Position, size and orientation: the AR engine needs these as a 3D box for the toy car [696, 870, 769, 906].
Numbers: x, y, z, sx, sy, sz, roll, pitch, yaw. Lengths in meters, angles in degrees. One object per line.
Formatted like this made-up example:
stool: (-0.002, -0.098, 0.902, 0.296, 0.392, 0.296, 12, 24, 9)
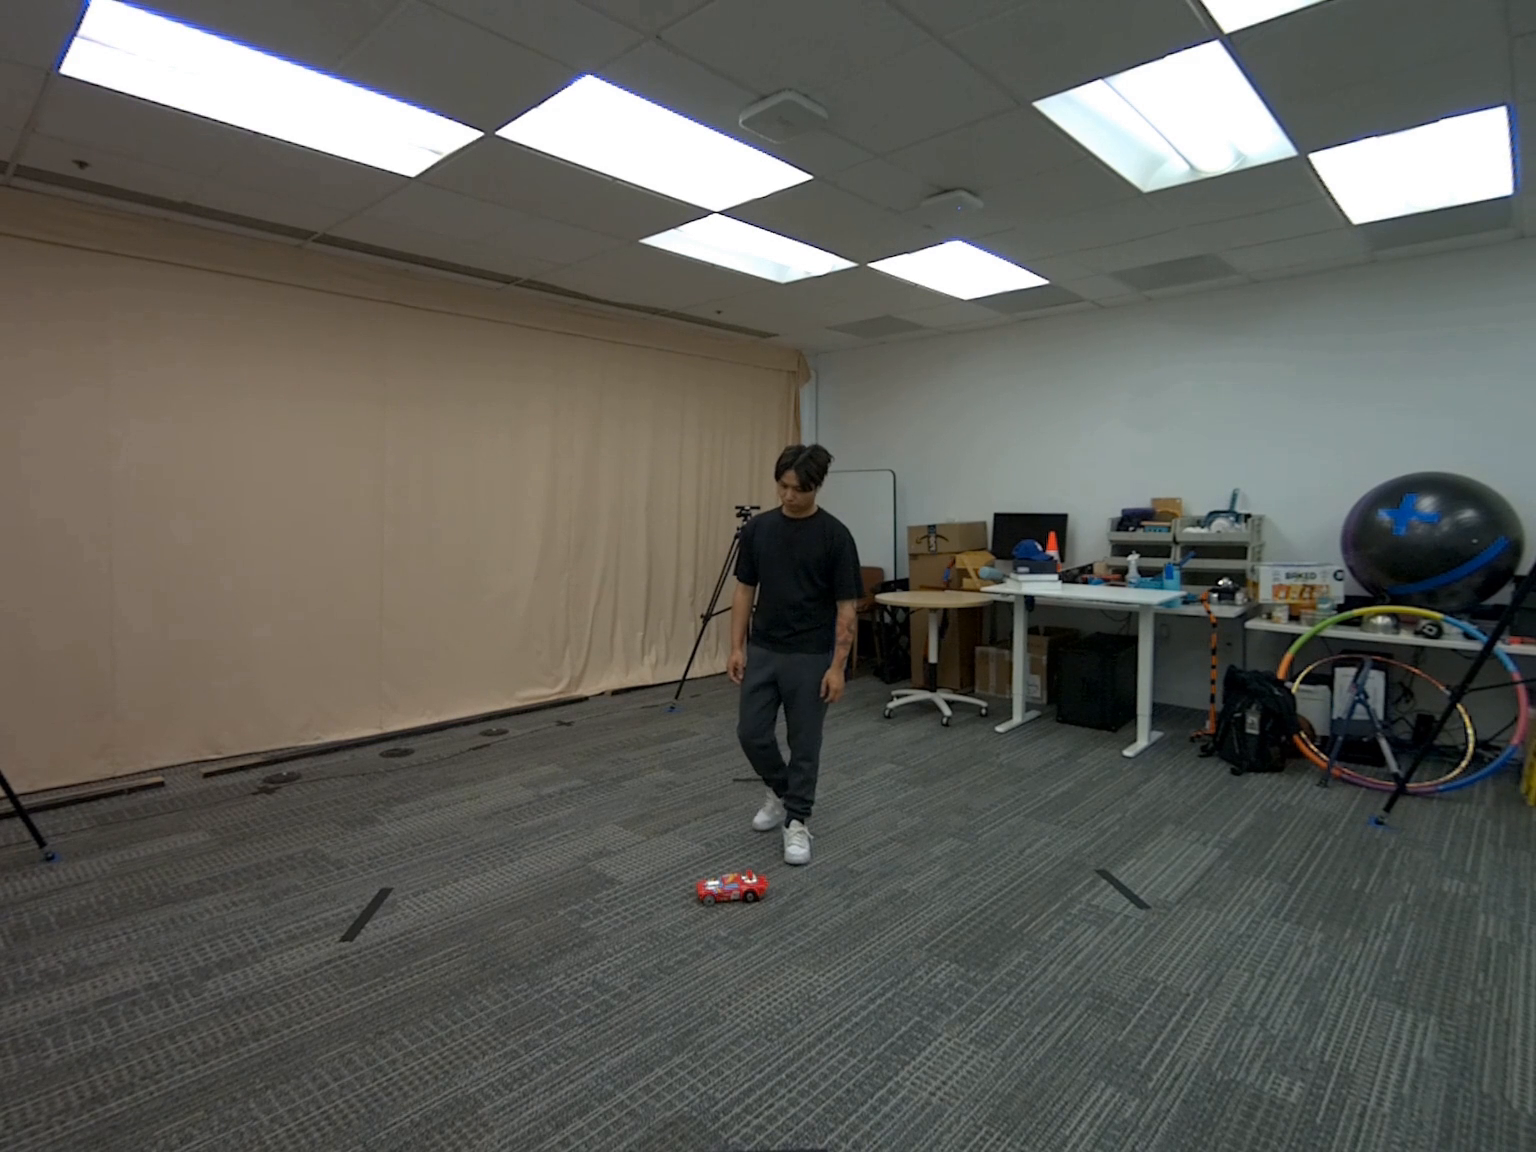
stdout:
toy car: (-0.122, 1.112, 2.995, 0.253, 0.083, 0.132, -12, 6, -7)
